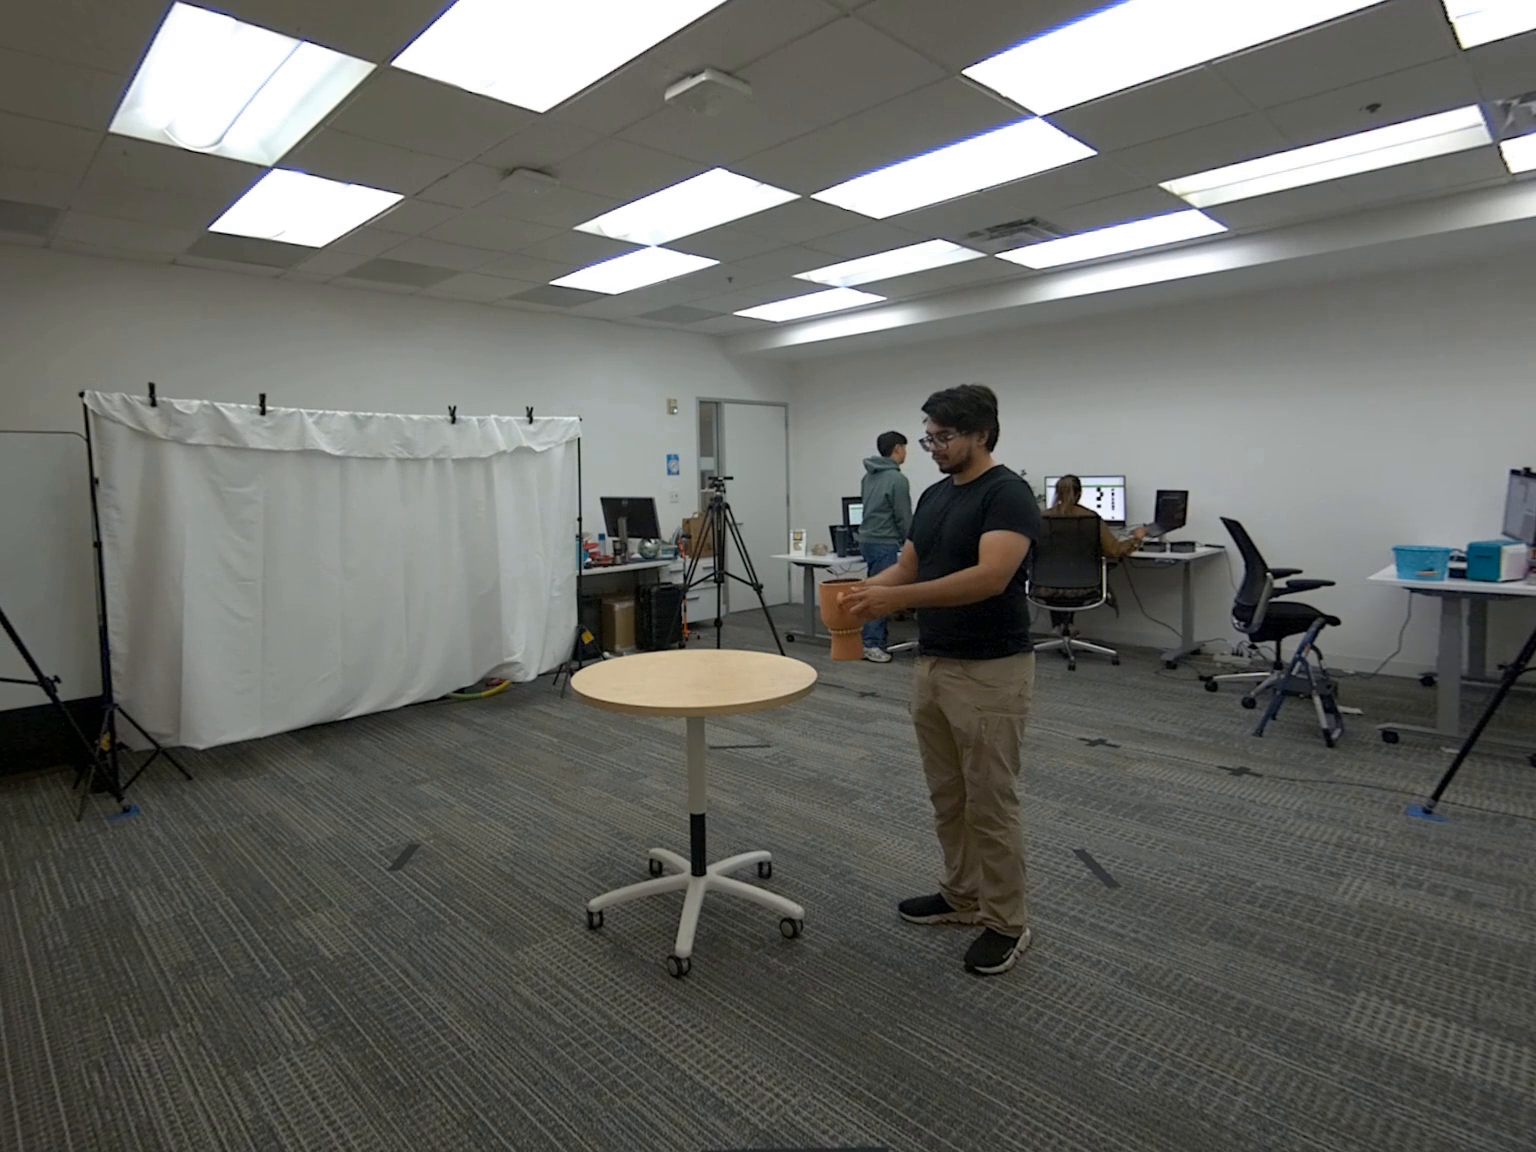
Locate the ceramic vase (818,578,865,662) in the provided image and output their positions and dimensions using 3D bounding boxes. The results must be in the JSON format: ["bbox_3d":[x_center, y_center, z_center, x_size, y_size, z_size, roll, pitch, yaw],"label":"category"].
[{"bbox_3d":[0.231,0.122,2.430,0.138,0.219,0.155,-2,5,43],"label":"ceramic vase"}]
